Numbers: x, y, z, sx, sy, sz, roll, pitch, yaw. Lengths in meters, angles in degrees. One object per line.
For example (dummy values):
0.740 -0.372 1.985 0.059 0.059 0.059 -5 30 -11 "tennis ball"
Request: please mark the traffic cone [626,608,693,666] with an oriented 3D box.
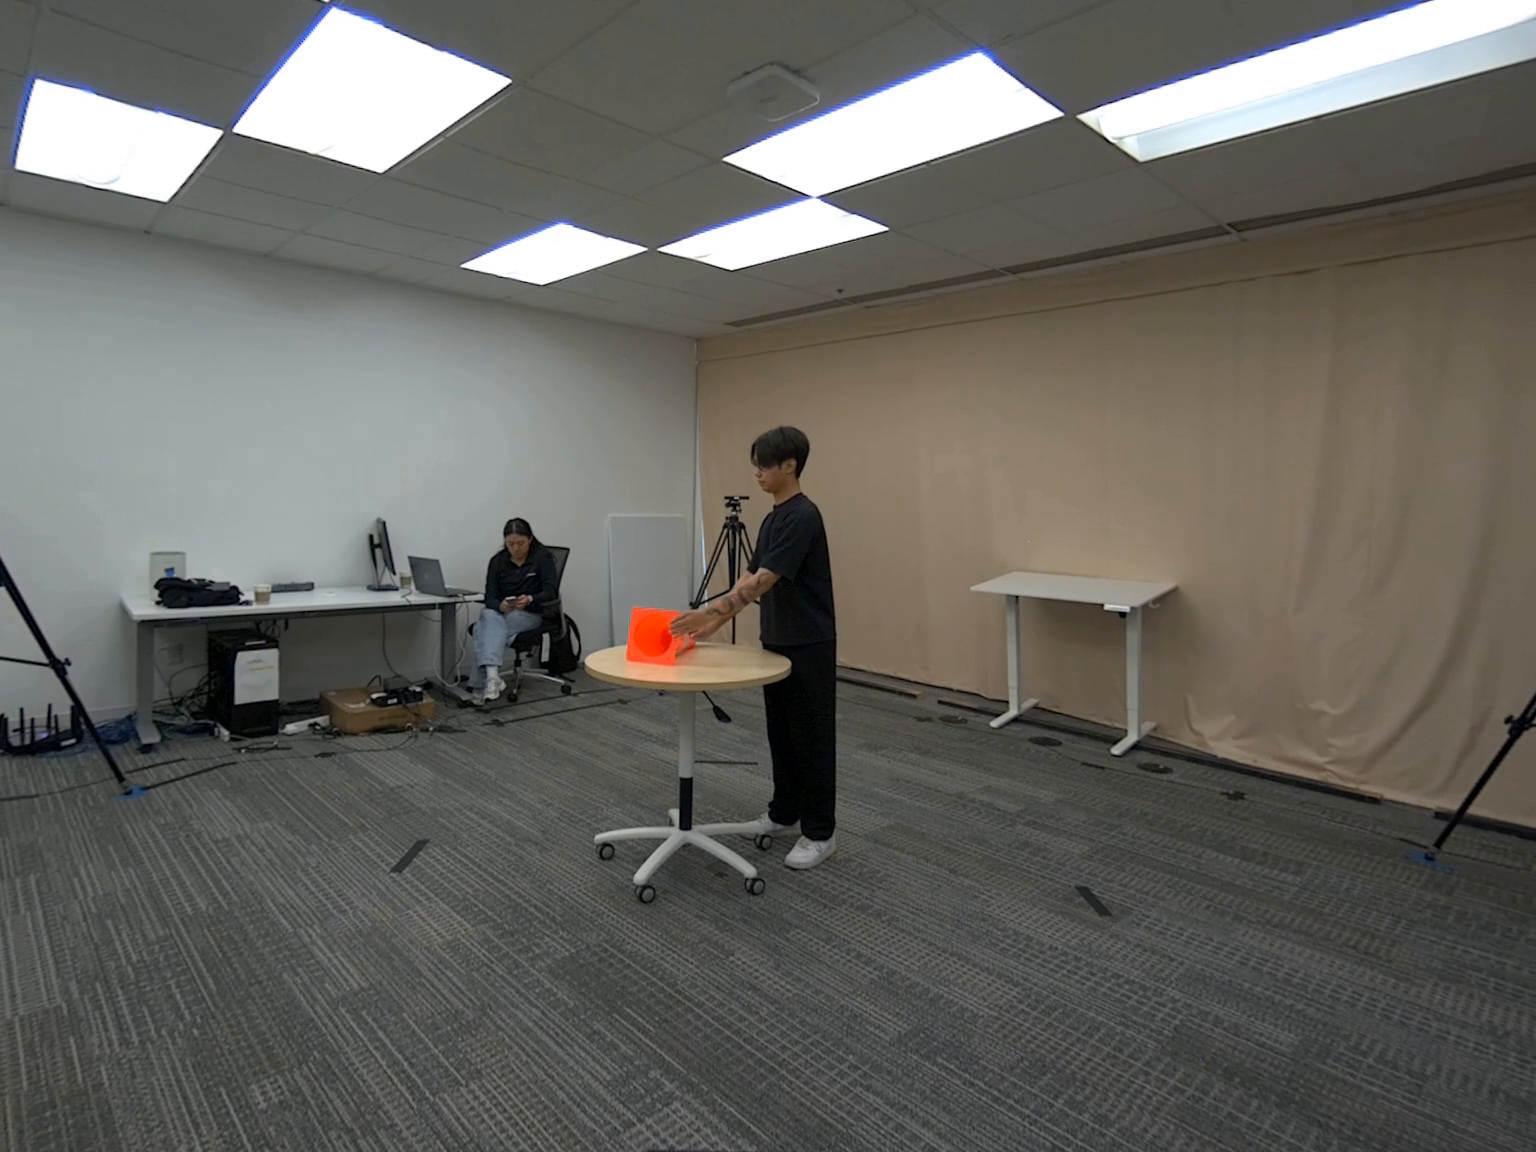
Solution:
-0.375 0.245 3.249 0.208 0.204 0.376 4 -7 18 "traffic cone"
